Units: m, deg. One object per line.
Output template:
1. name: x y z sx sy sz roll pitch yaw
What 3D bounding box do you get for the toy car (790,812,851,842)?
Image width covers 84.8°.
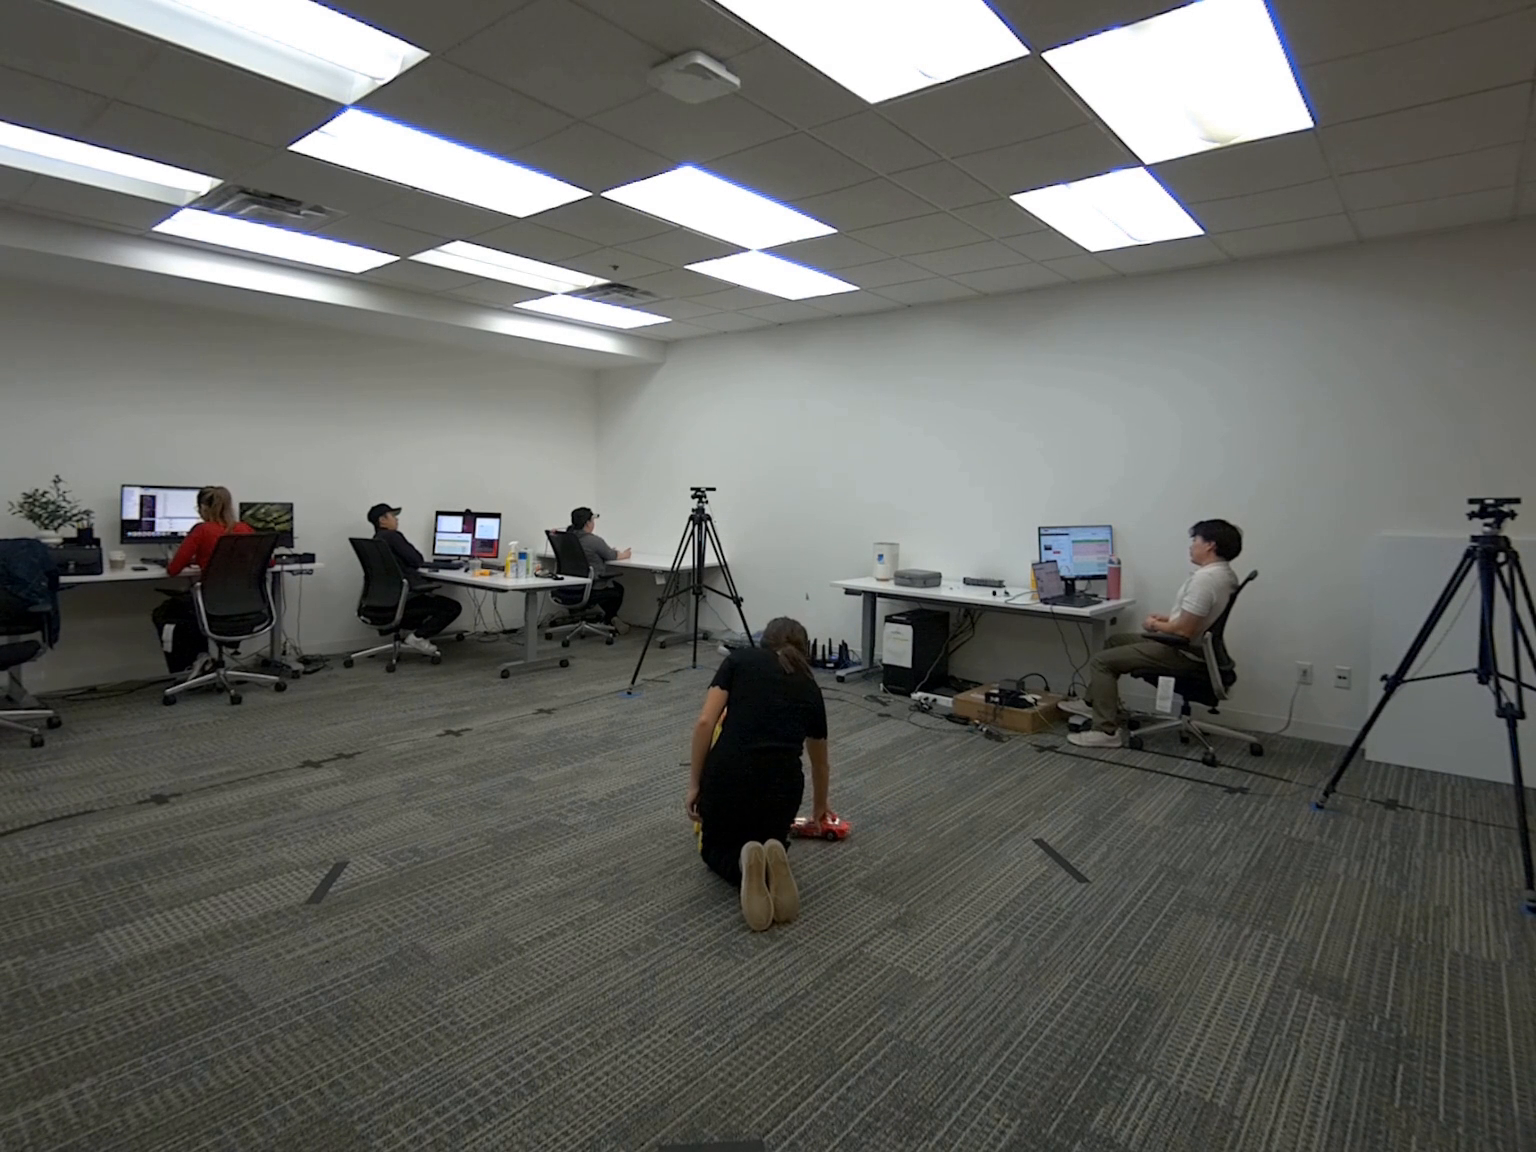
1. toy car: 0.189 1.017 3.428 0.257 0.083 0.129 -9 3 11
